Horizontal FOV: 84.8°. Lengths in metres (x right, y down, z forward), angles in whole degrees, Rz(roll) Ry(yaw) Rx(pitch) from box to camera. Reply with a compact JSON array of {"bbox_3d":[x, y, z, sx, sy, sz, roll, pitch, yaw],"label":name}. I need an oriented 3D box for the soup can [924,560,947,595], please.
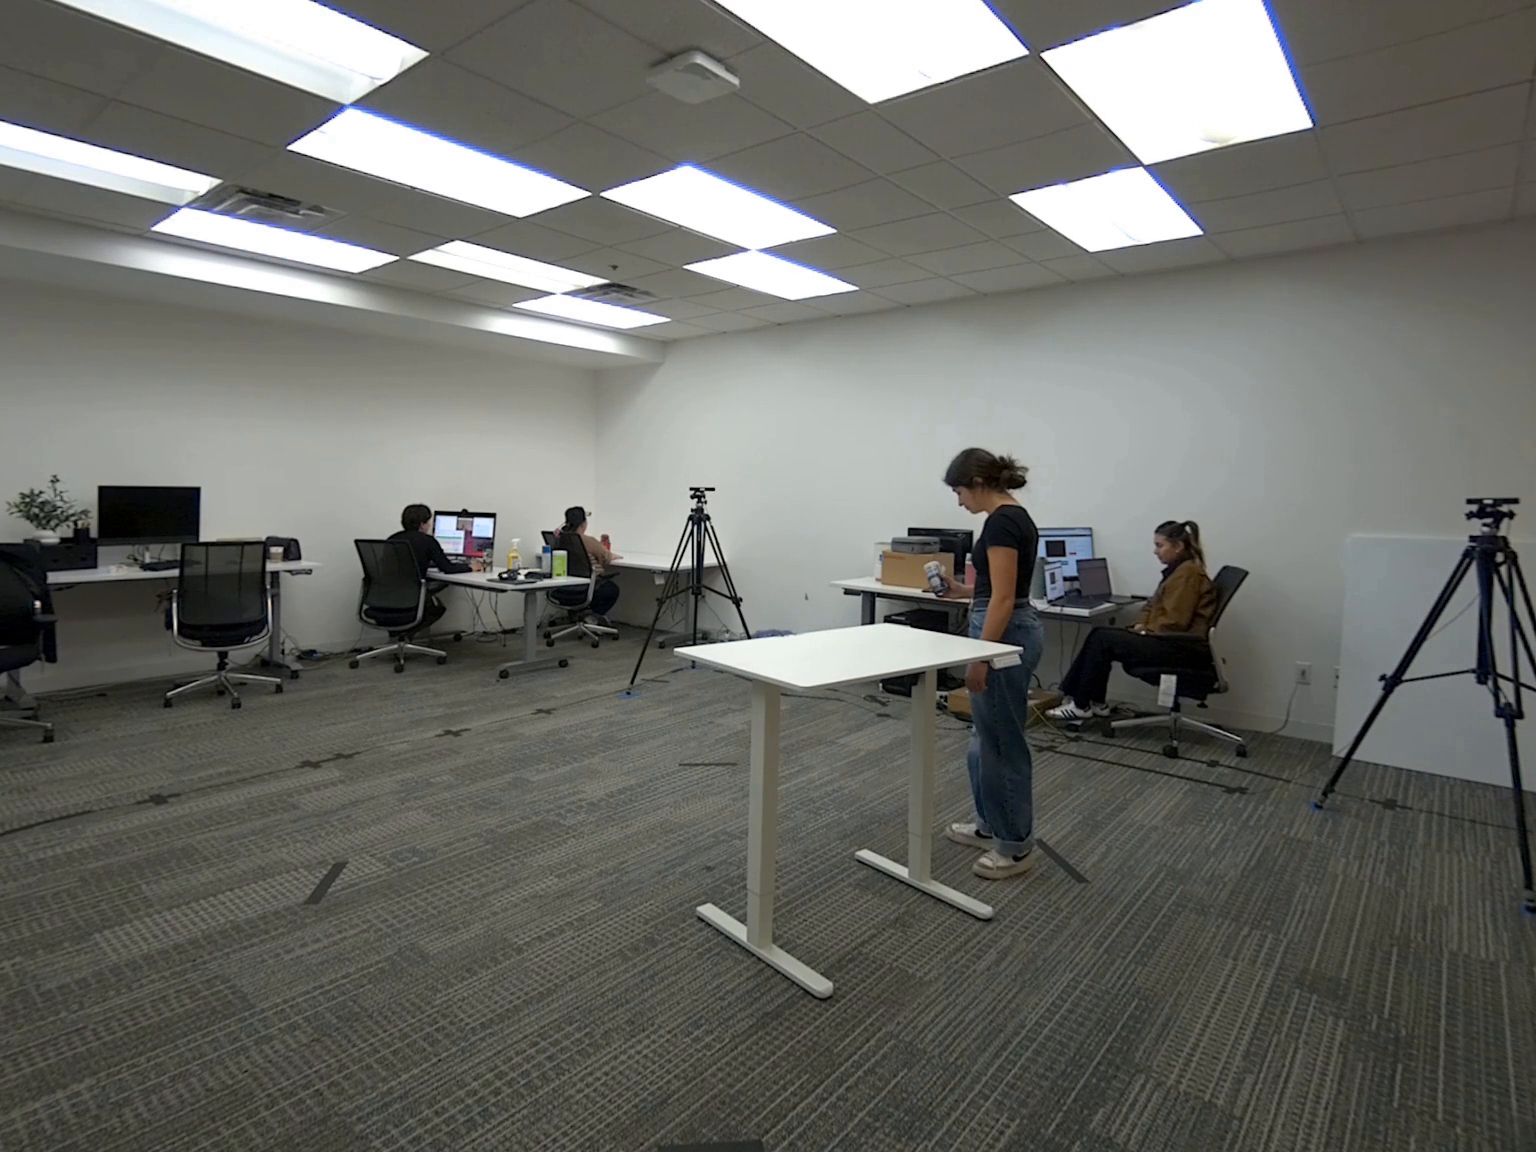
[{"bbox_3d":[0.684,0.001,3.477,0.067,0.125,0.066,-12,-22,-7],"label":"soup can"}]
